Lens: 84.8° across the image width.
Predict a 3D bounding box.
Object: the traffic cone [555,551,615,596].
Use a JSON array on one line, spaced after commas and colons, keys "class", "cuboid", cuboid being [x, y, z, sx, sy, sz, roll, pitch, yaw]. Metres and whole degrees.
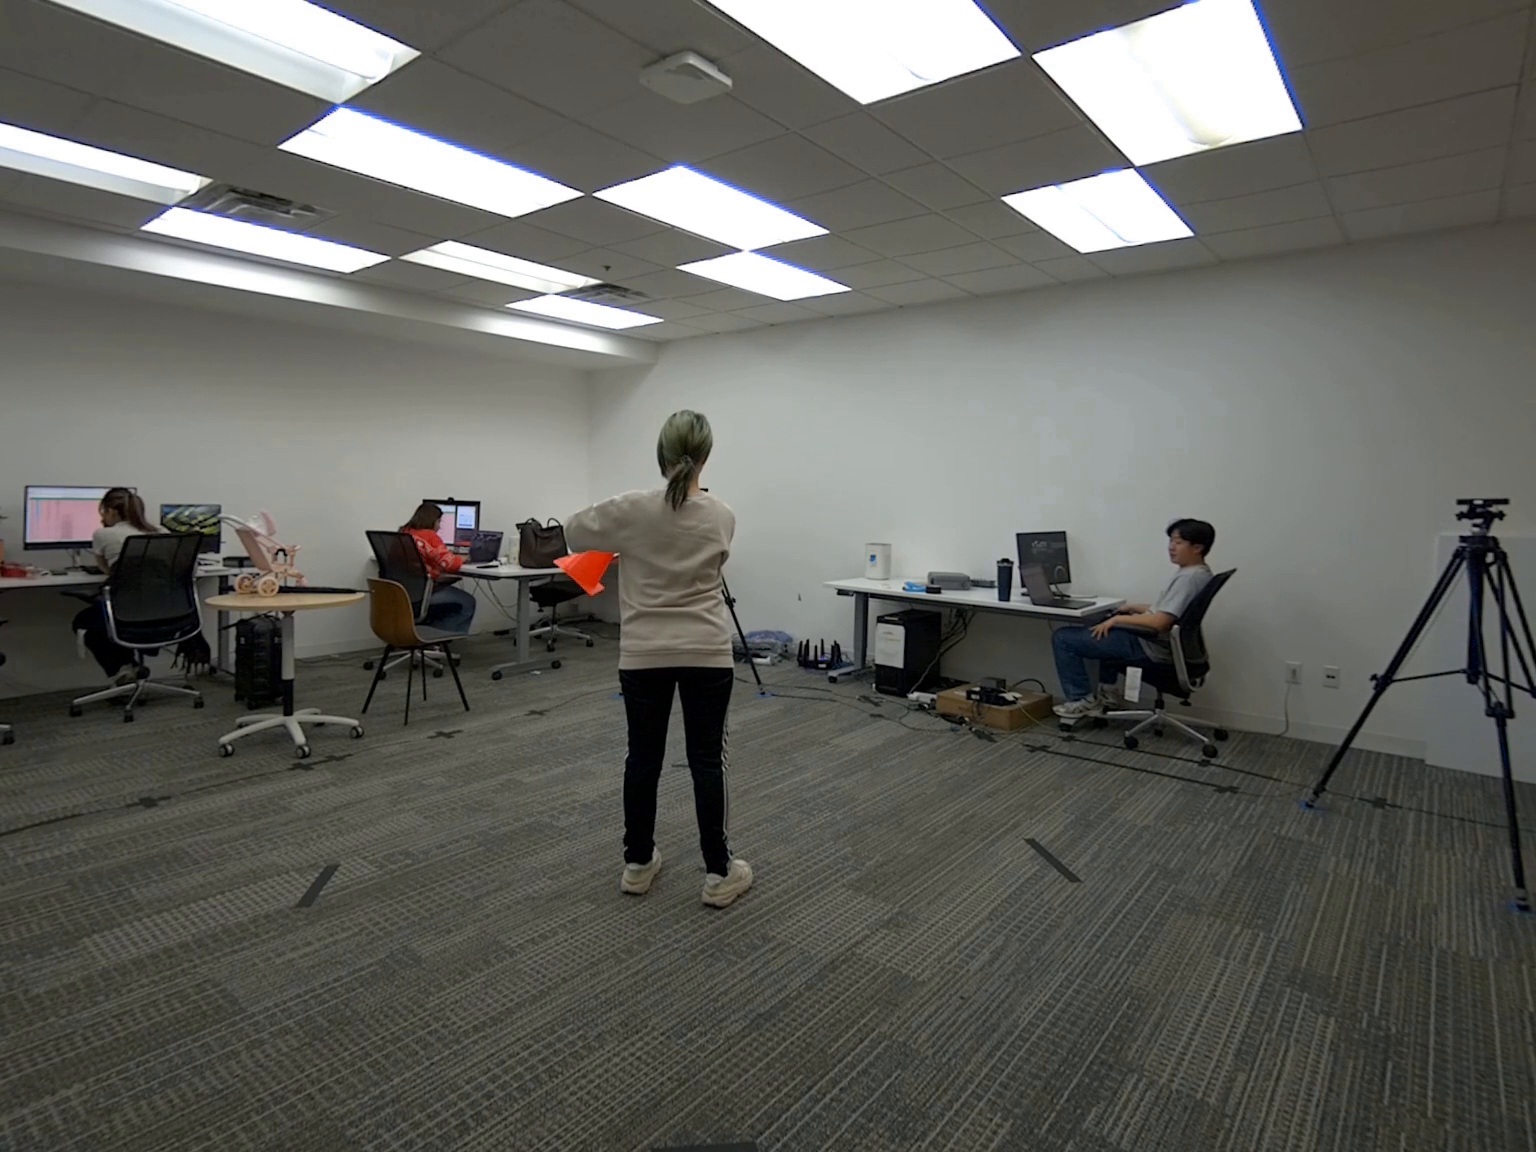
[{"class": "traffic cone", "cuboid": [-0.617, -0.131, 3.296, 0.208, 0.383, 0.200, 41, 5, 10]}]
